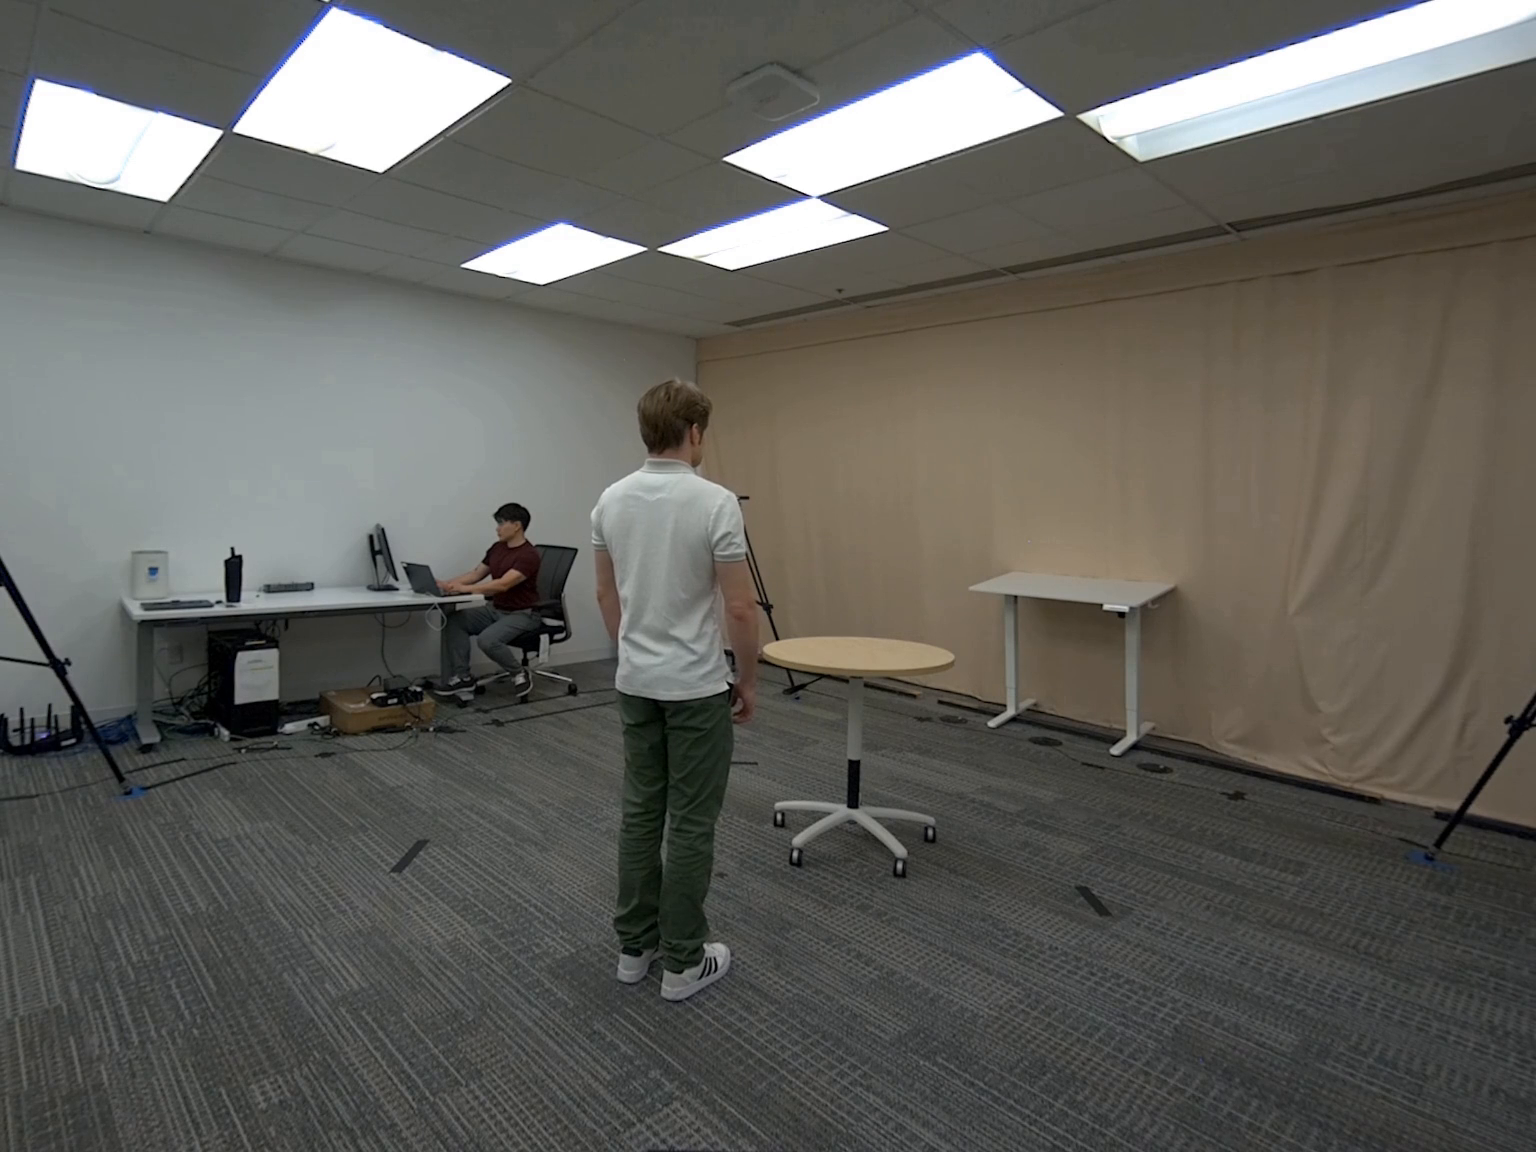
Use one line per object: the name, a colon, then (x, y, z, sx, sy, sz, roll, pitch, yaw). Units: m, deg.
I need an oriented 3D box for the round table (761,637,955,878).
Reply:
round table: (0.345, 0.695, 3.412, 0.784, 0.785, 0.787, 1, 3, -1)
